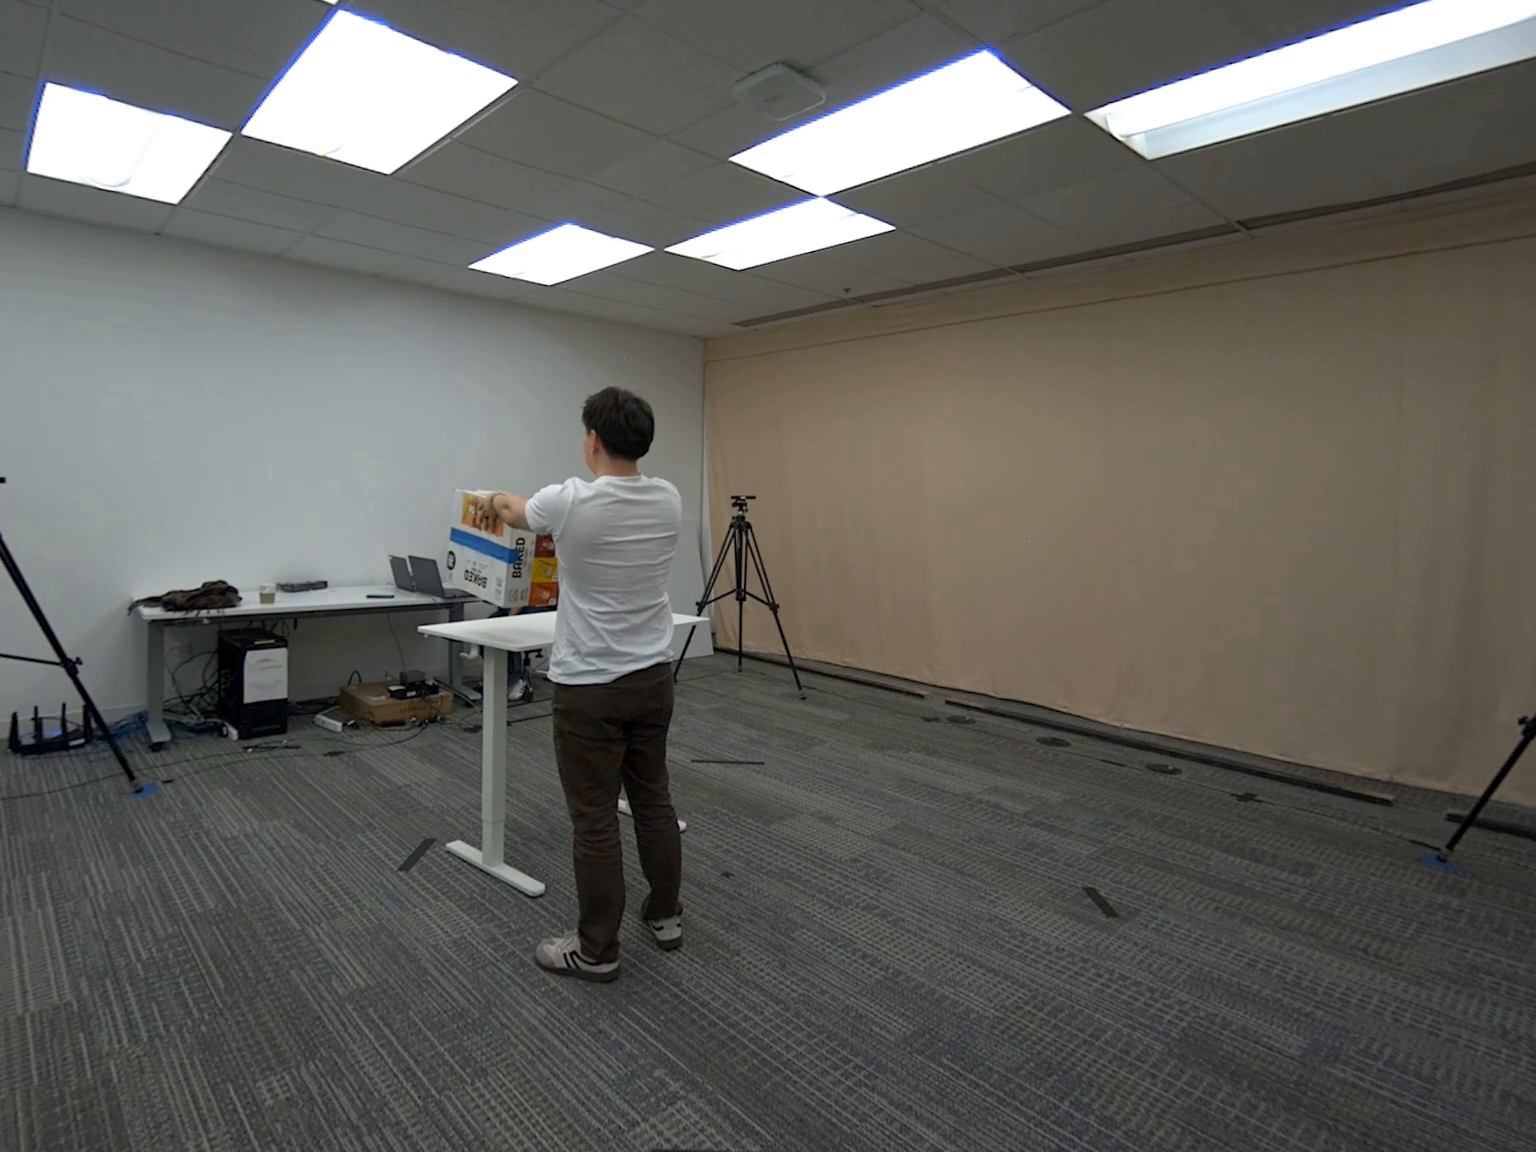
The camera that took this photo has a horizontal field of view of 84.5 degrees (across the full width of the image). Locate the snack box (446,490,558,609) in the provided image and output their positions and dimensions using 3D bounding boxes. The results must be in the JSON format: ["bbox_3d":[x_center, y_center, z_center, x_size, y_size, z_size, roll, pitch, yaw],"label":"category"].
[{"bbox_3d":[-0.930,-0.110,2.938,0.417,0.339,0.201,17,10,42],"label":"snack box"}]
